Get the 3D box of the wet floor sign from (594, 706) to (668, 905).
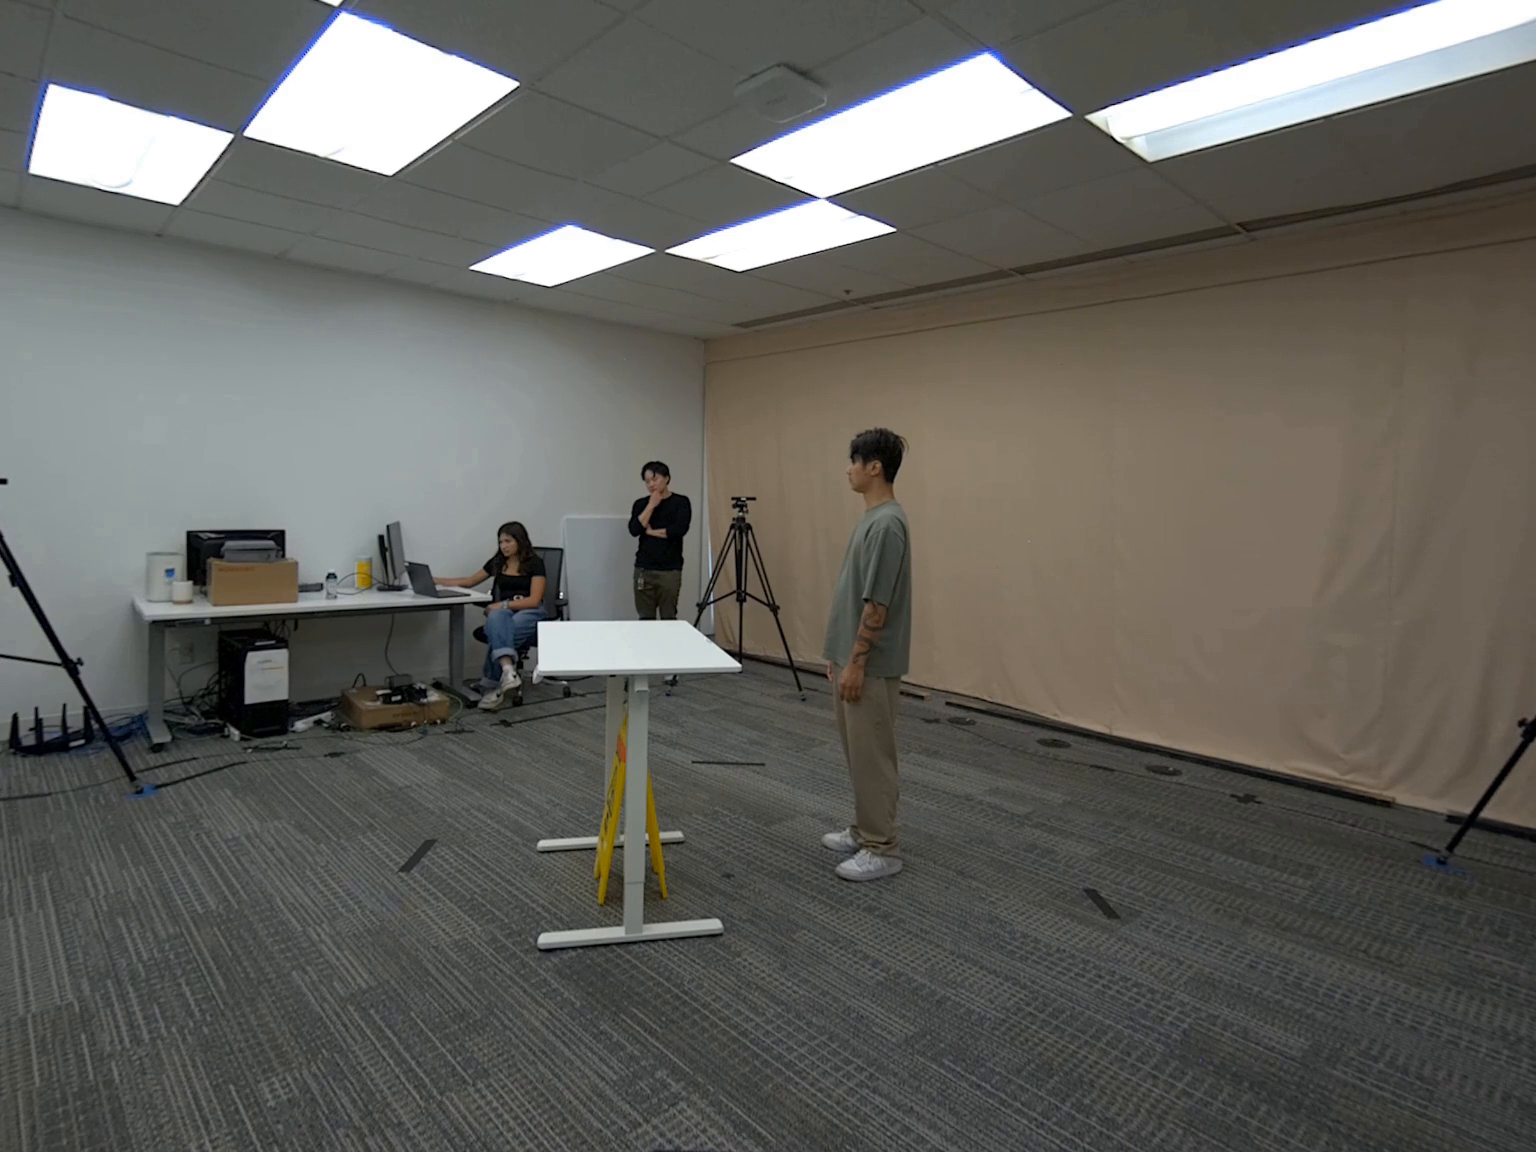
[{"bbox_3d":[-0.511,0.794,3.007,0.286,0.645,0.285,0,1,-14],"label":"wet floor sign"}]
